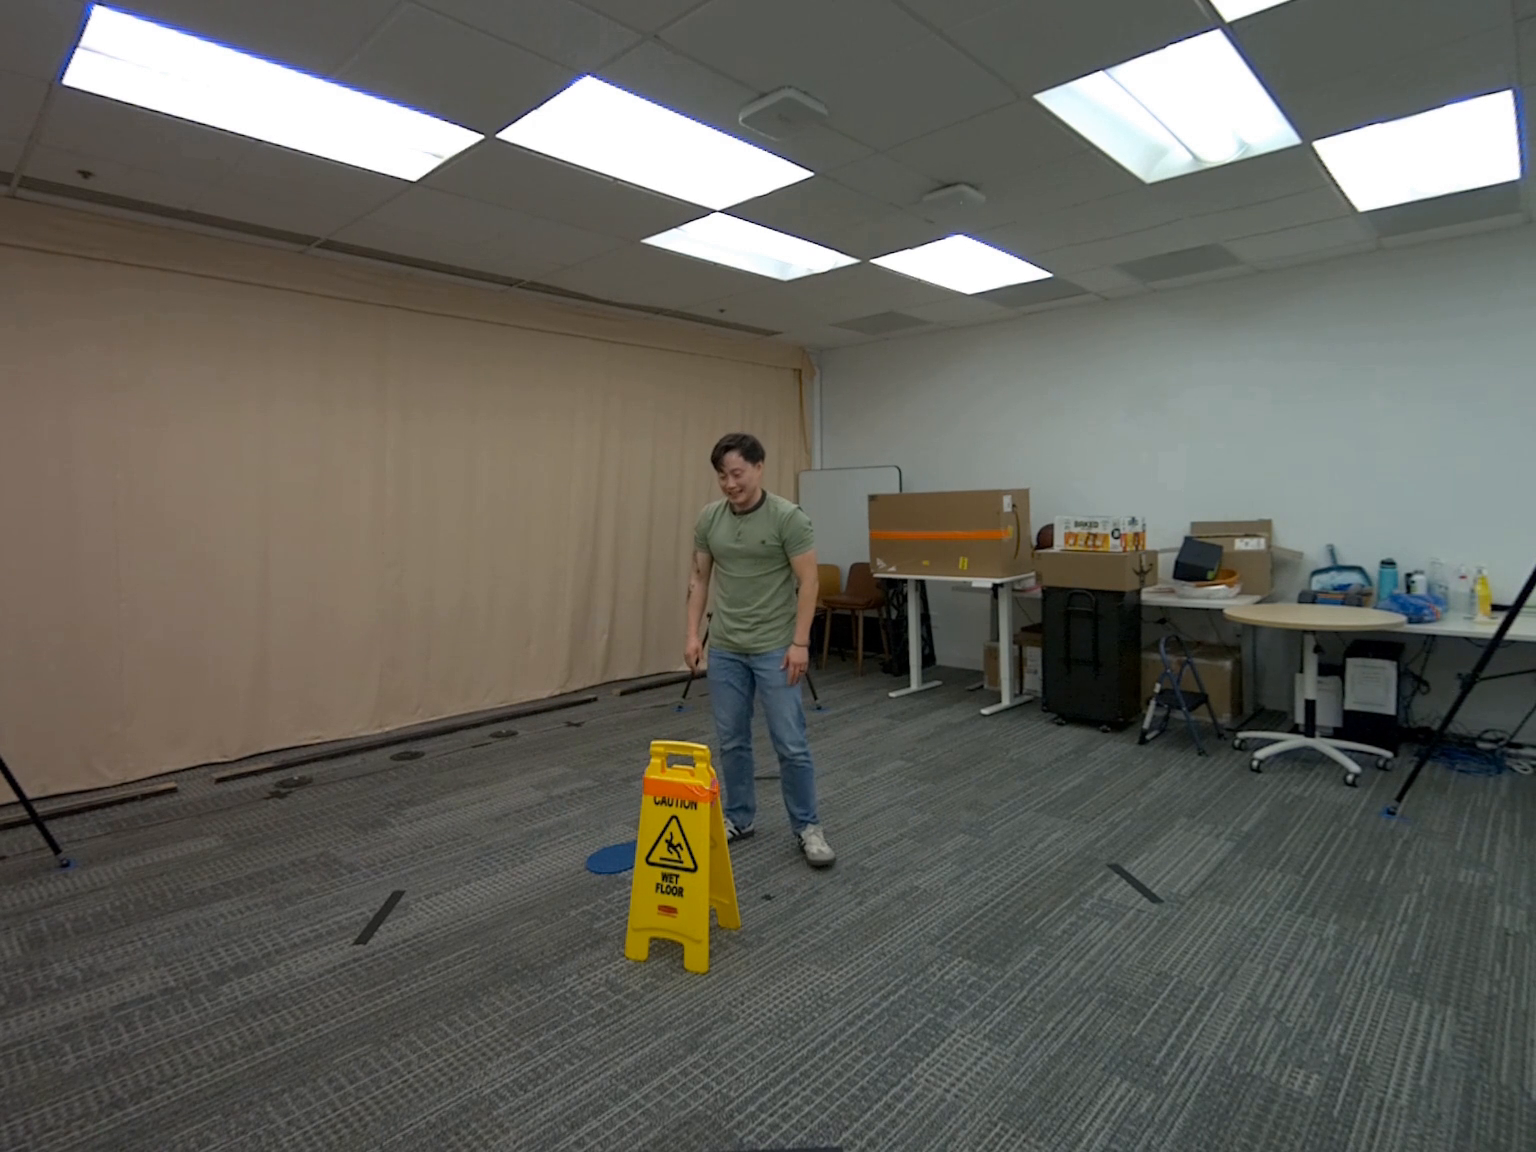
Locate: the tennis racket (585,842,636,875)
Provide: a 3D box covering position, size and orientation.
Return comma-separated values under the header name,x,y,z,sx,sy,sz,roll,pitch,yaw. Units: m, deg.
name,x,y,z,sx,sy,sz,roll,pitch,yaw
tennis racket,-0.556,1.102,3.397,0.220,0.031,0.422,2,8,32
